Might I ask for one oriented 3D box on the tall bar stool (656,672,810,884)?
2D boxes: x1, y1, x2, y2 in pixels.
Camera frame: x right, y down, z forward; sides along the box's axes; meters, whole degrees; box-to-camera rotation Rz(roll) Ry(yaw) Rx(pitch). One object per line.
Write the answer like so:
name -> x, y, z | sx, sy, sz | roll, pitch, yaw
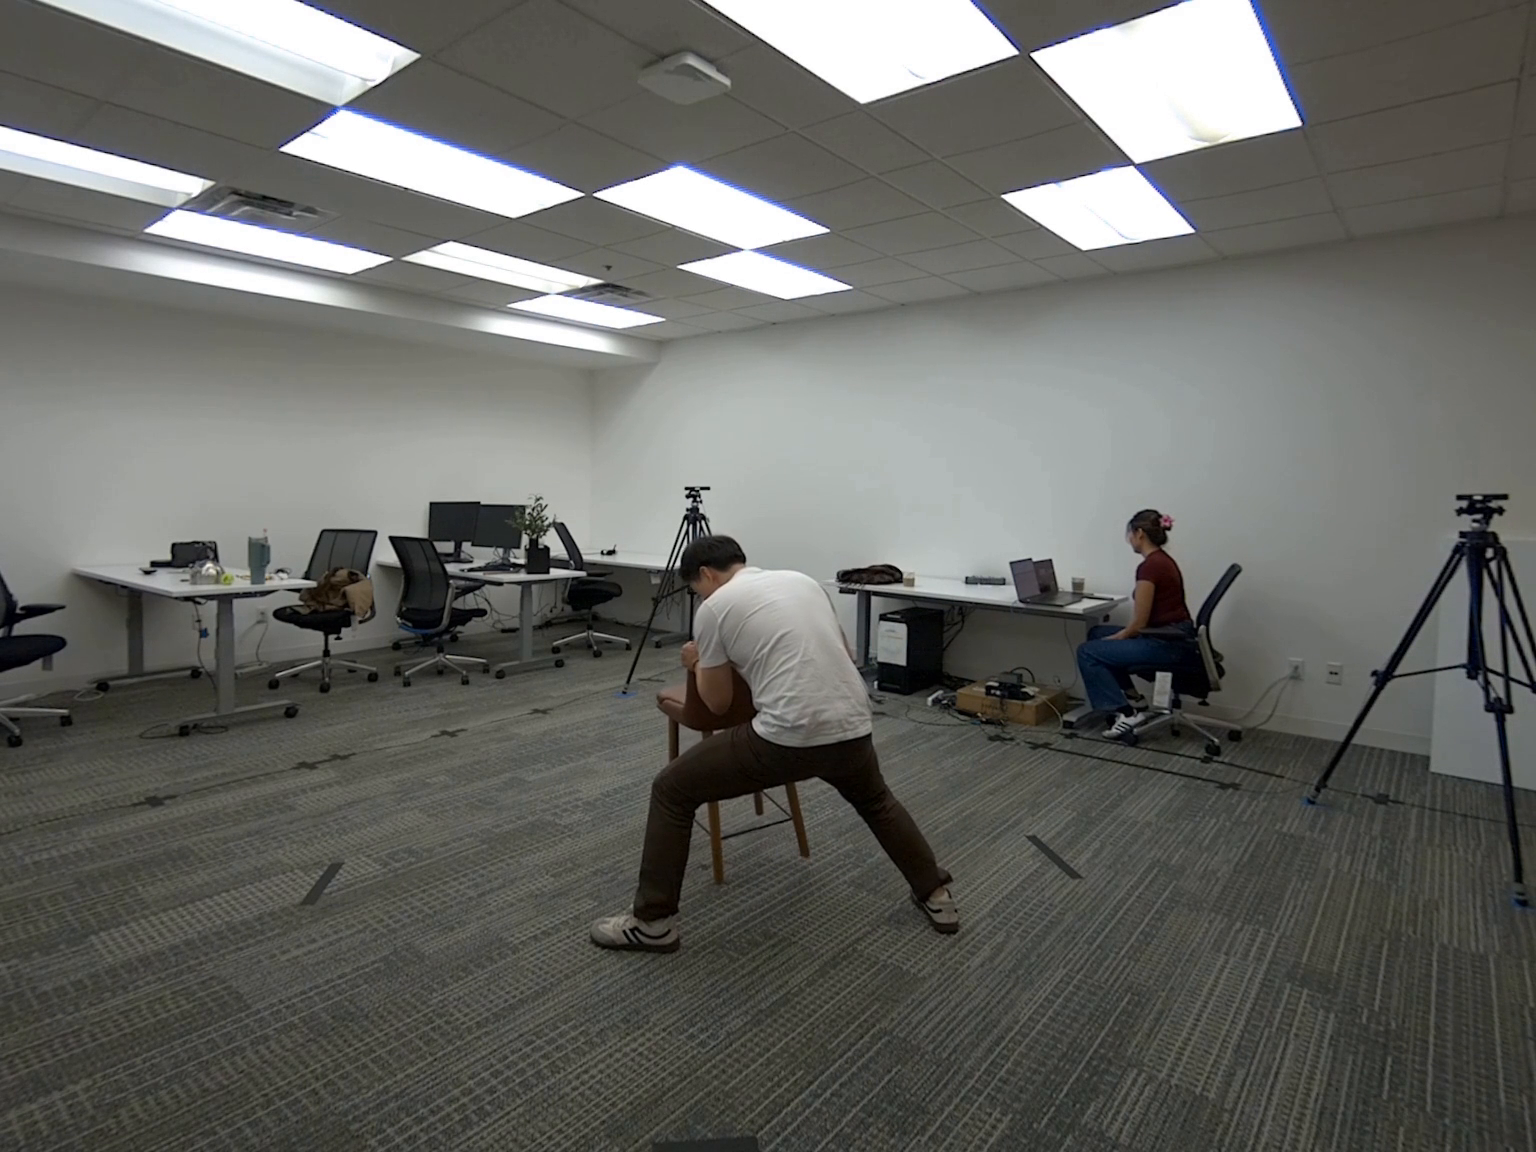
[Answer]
tall bar stool -> -0.156, 0.599, 3.206 | 0.447, 0.883, 0.481 | -7, 9, -25
